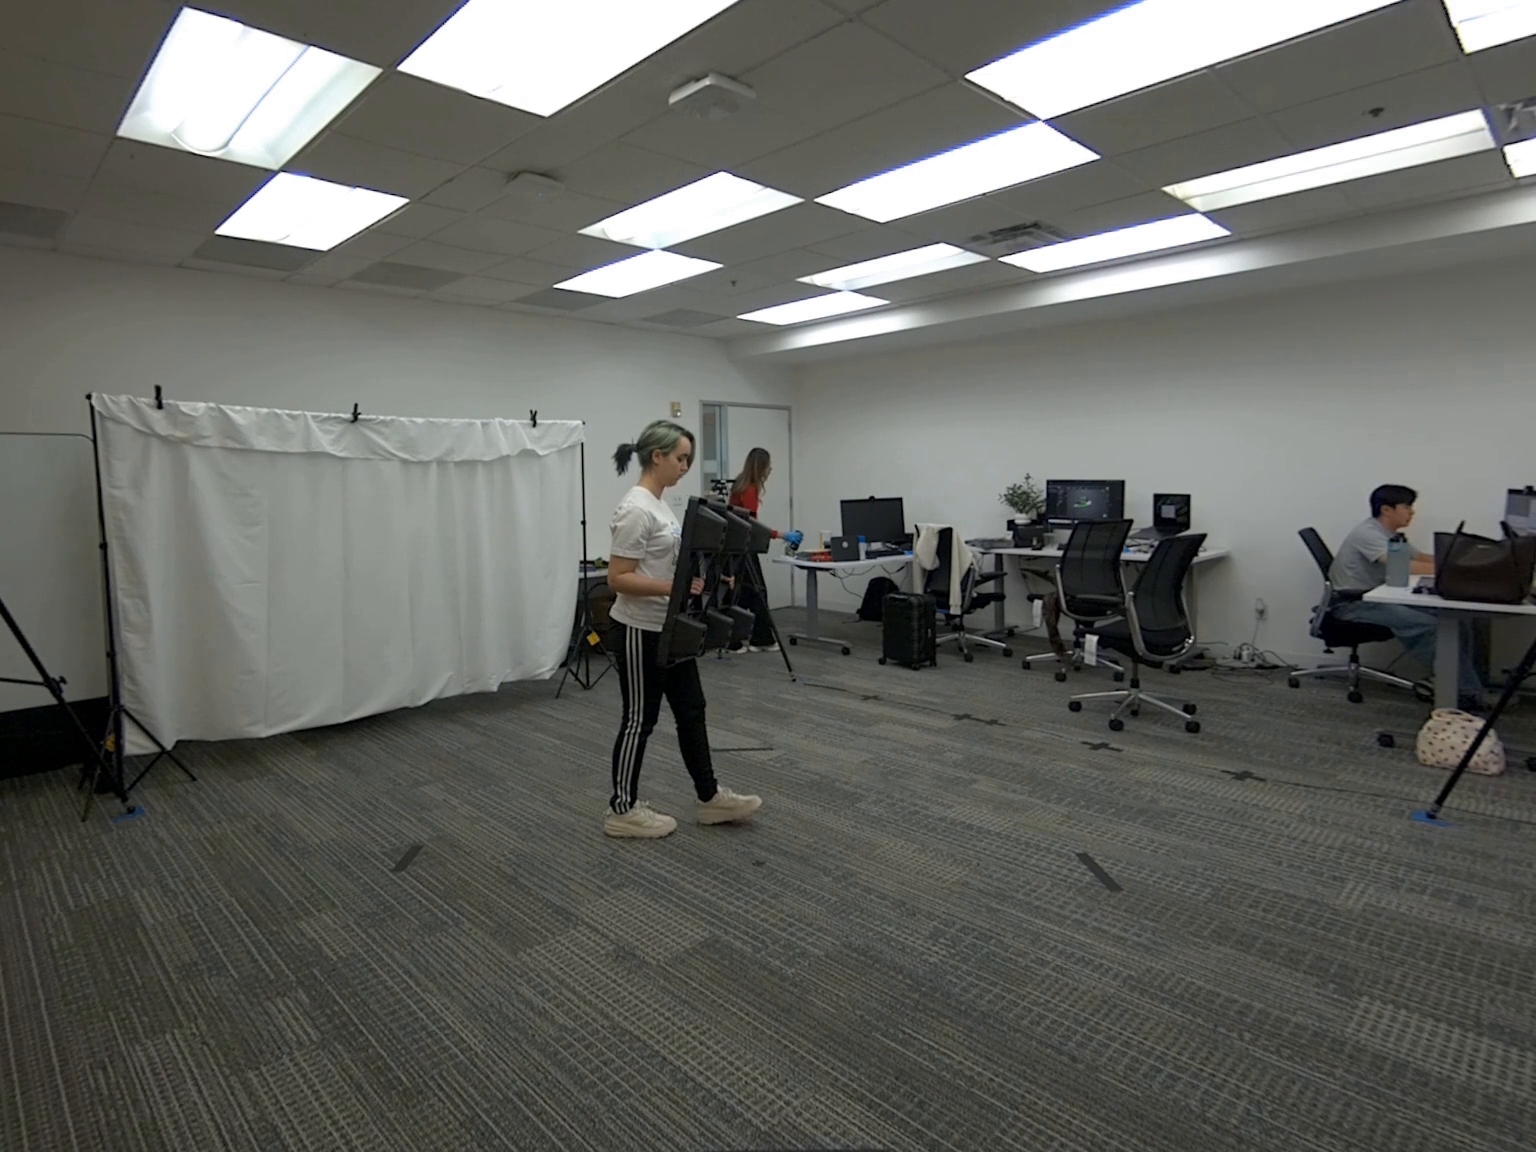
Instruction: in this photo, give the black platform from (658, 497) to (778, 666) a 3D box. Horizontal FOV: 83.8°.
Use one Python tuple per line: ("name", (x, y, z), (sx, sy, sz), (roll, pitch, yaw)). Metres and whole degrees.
("black platform", (-0.177, 0.033, 3.292), (0.146, 0.604, 0.793), (10, 2, 13))
